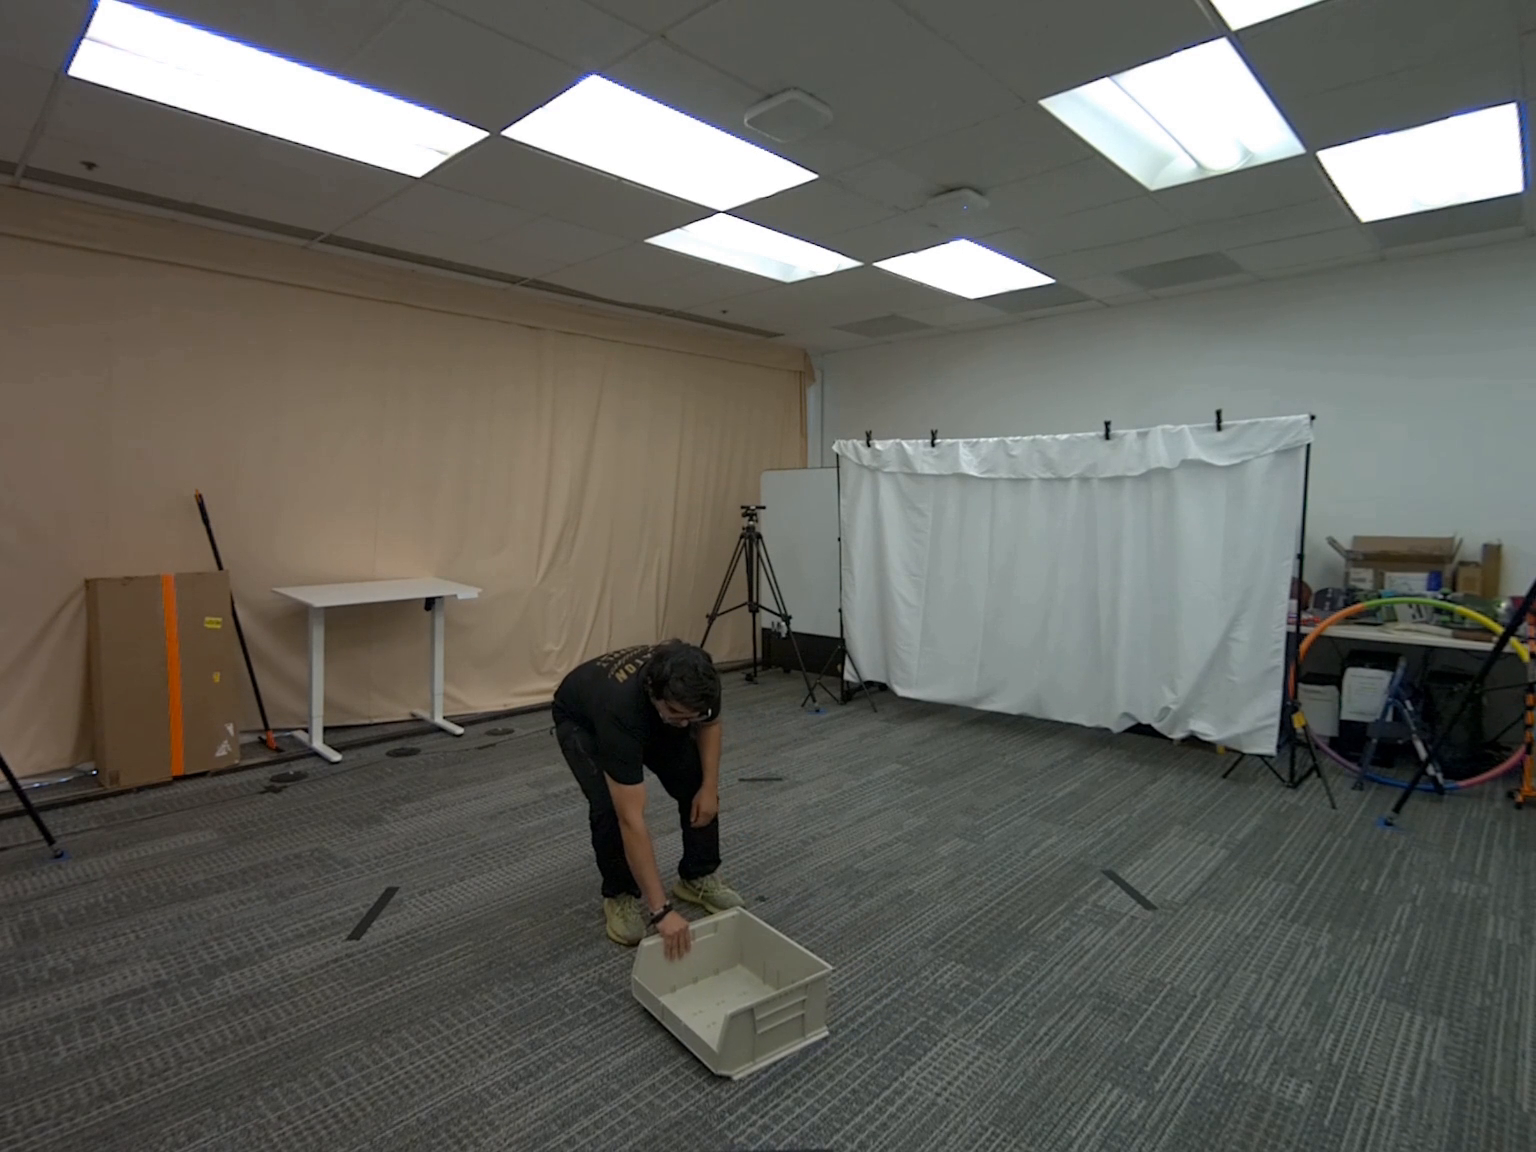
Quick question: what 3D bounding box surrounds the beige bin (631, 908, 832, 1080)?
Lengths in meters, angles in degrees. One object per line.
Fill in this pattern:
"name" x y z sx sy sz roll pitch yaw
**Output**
"beige bin" -0.103 1.117 2.274 0.366 0.188 0.436 -3 4 -37
